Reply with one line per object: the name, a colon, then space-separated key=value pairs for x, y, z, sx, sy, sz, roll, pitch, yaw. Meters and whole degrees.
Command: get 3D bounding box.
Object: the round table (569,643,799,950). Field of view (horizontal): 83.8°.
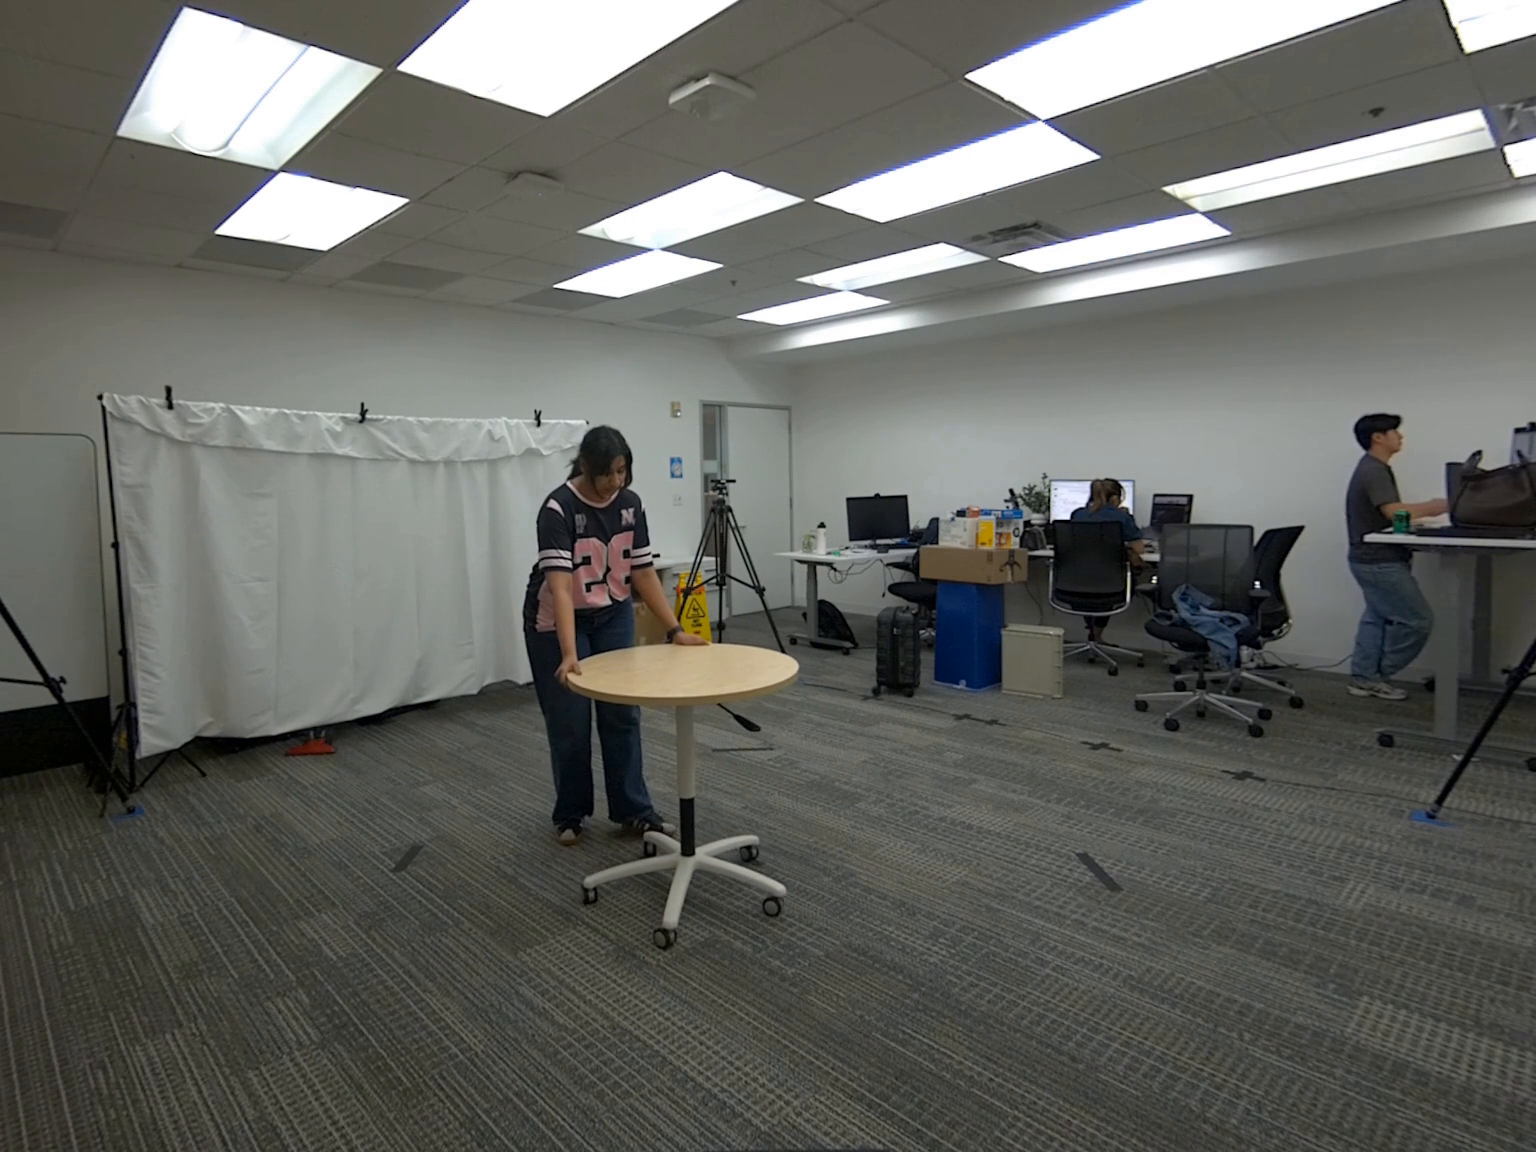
round table: x=-0.275 y=0.683 z=2.881 sx=0.784 sy=0.783 sz=0.790 roll=-1 pitch=6 yaw=-2
